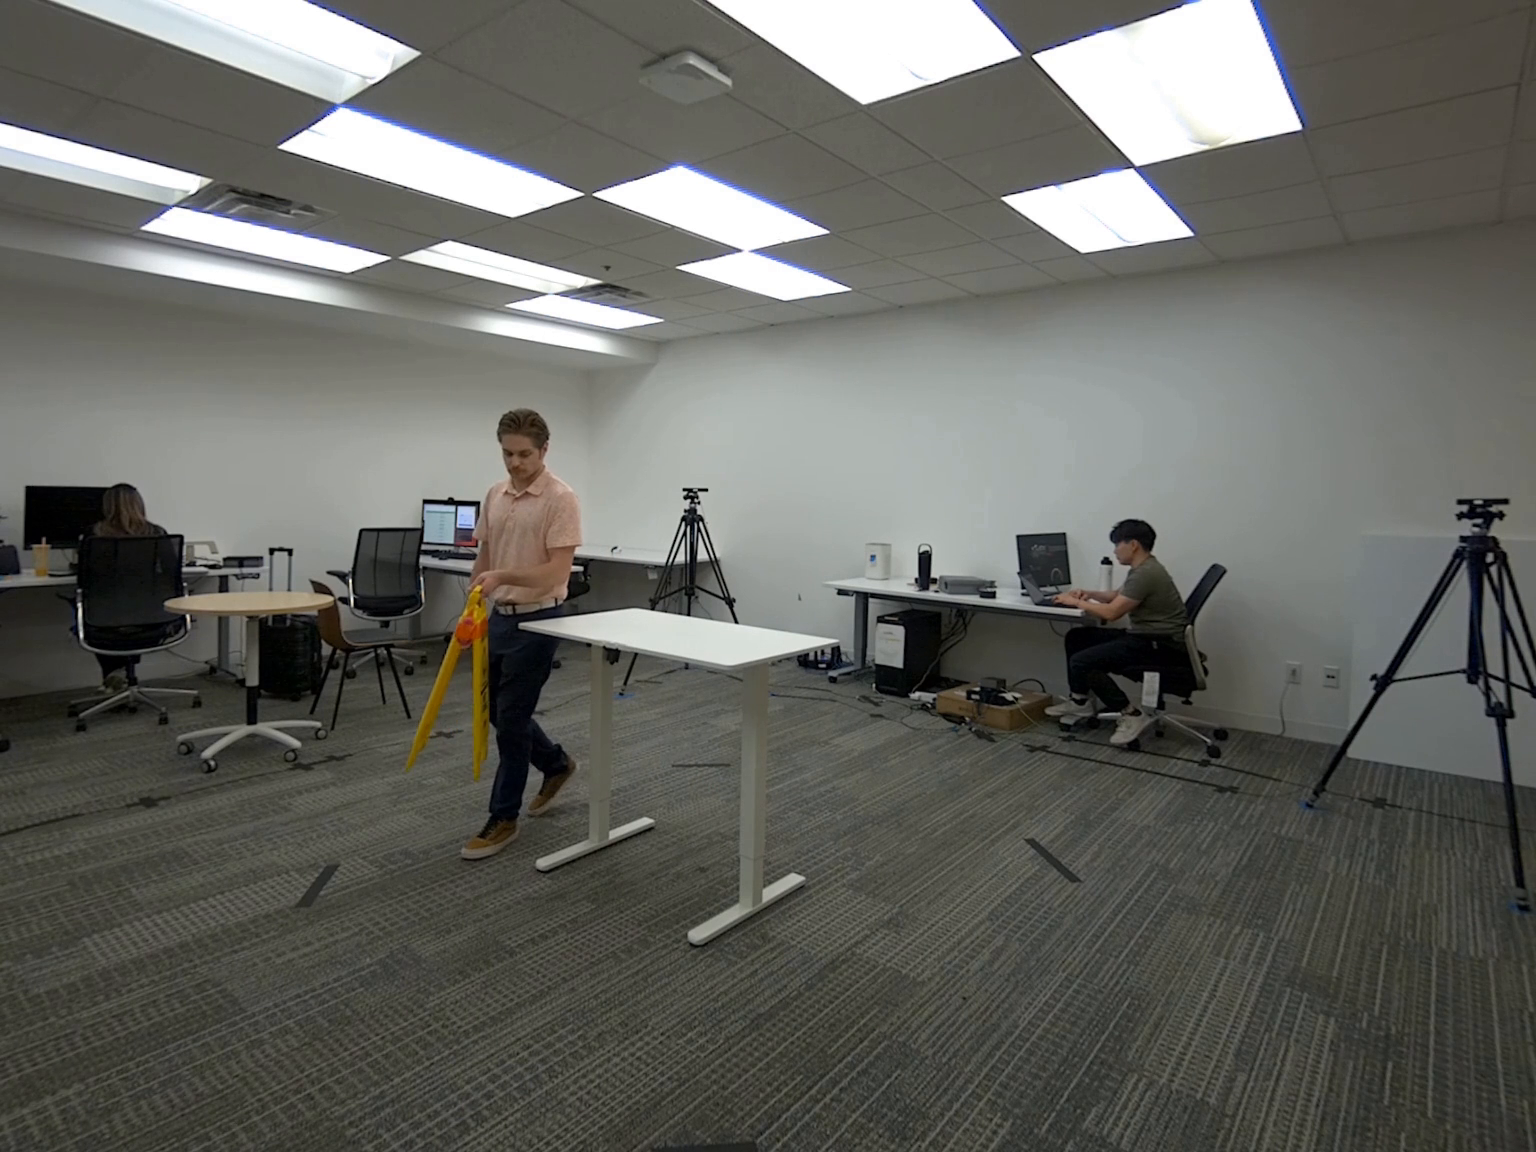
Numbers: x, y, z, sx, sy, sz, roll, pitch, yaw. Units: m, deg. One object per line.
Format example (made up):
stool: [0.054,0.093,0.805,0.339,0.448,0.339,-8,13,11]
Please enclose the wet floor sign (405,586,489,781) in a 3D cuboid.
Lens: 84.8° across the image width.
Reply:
wet floor sign: [-1.102,0.351,3.018,0.287,0.645,0.286,10,2,-9]
